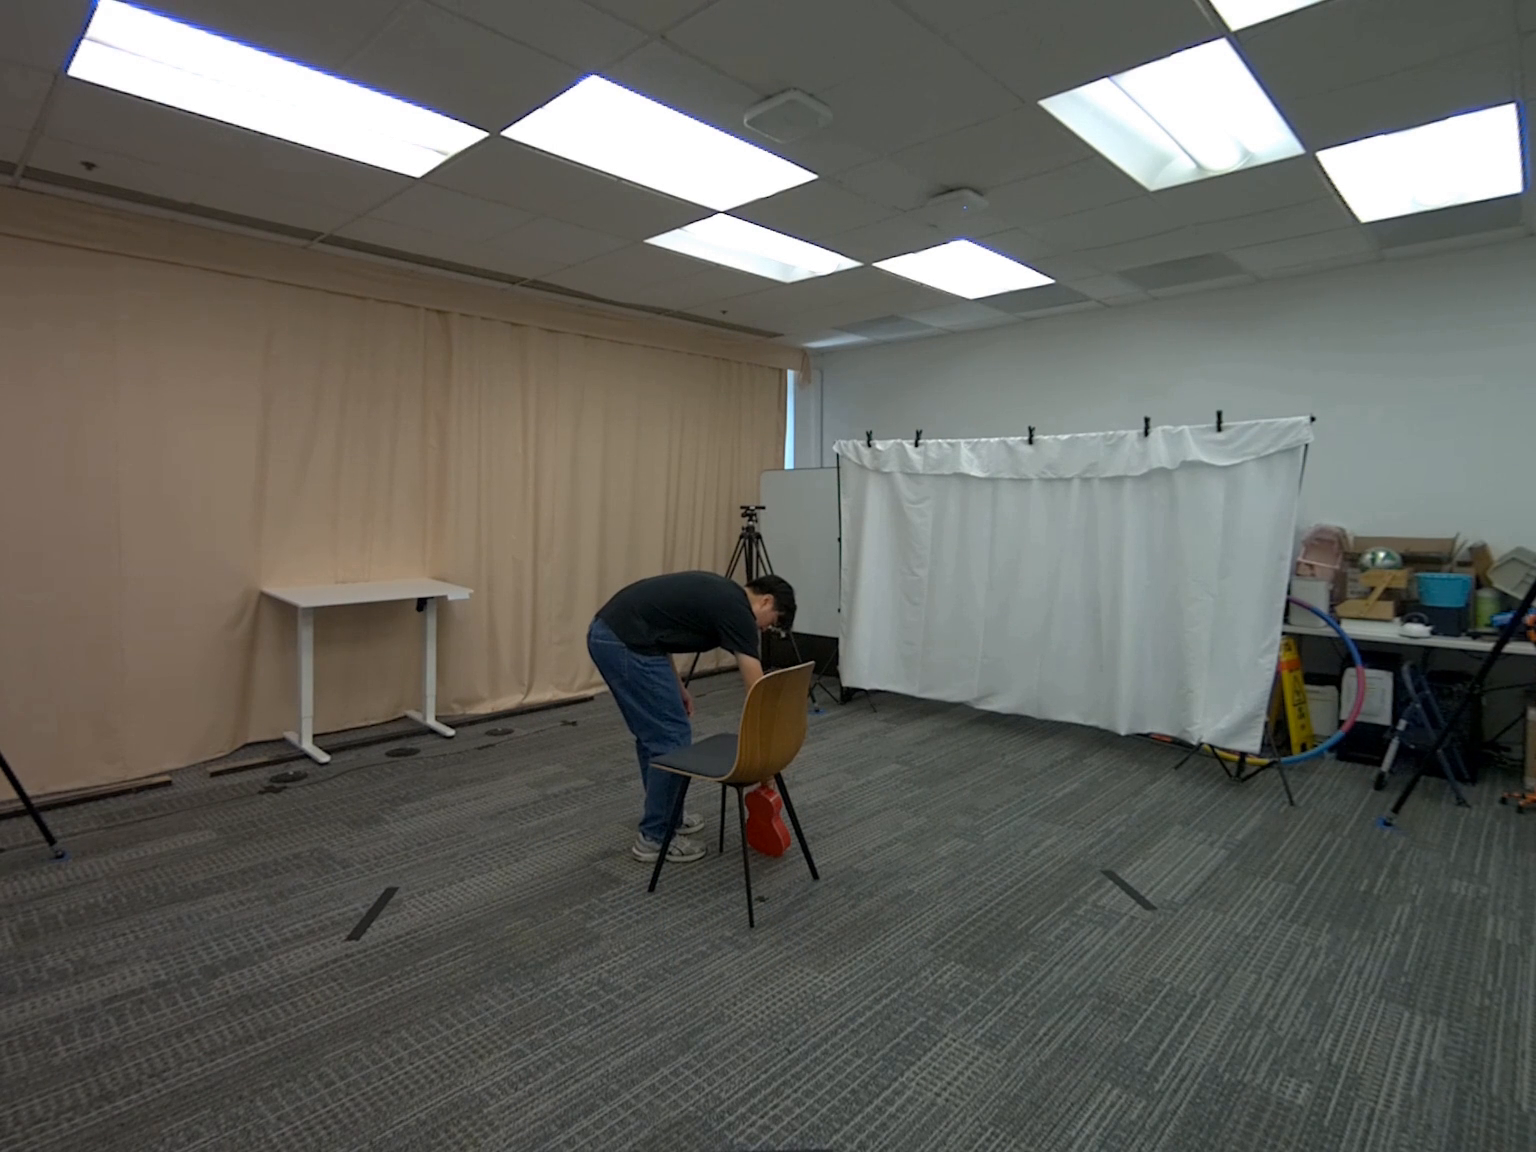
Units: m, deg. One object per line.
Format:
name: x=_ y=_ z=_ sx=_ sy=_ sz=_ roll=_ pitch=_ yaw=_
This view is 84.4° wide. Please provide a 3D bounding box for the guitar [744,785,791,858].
guitar: x=-0.039 y=0.868 z=3.351 sx=0.199 sy=0.494 sz=0.069 roll=-6 pitch=11 yaw=40
